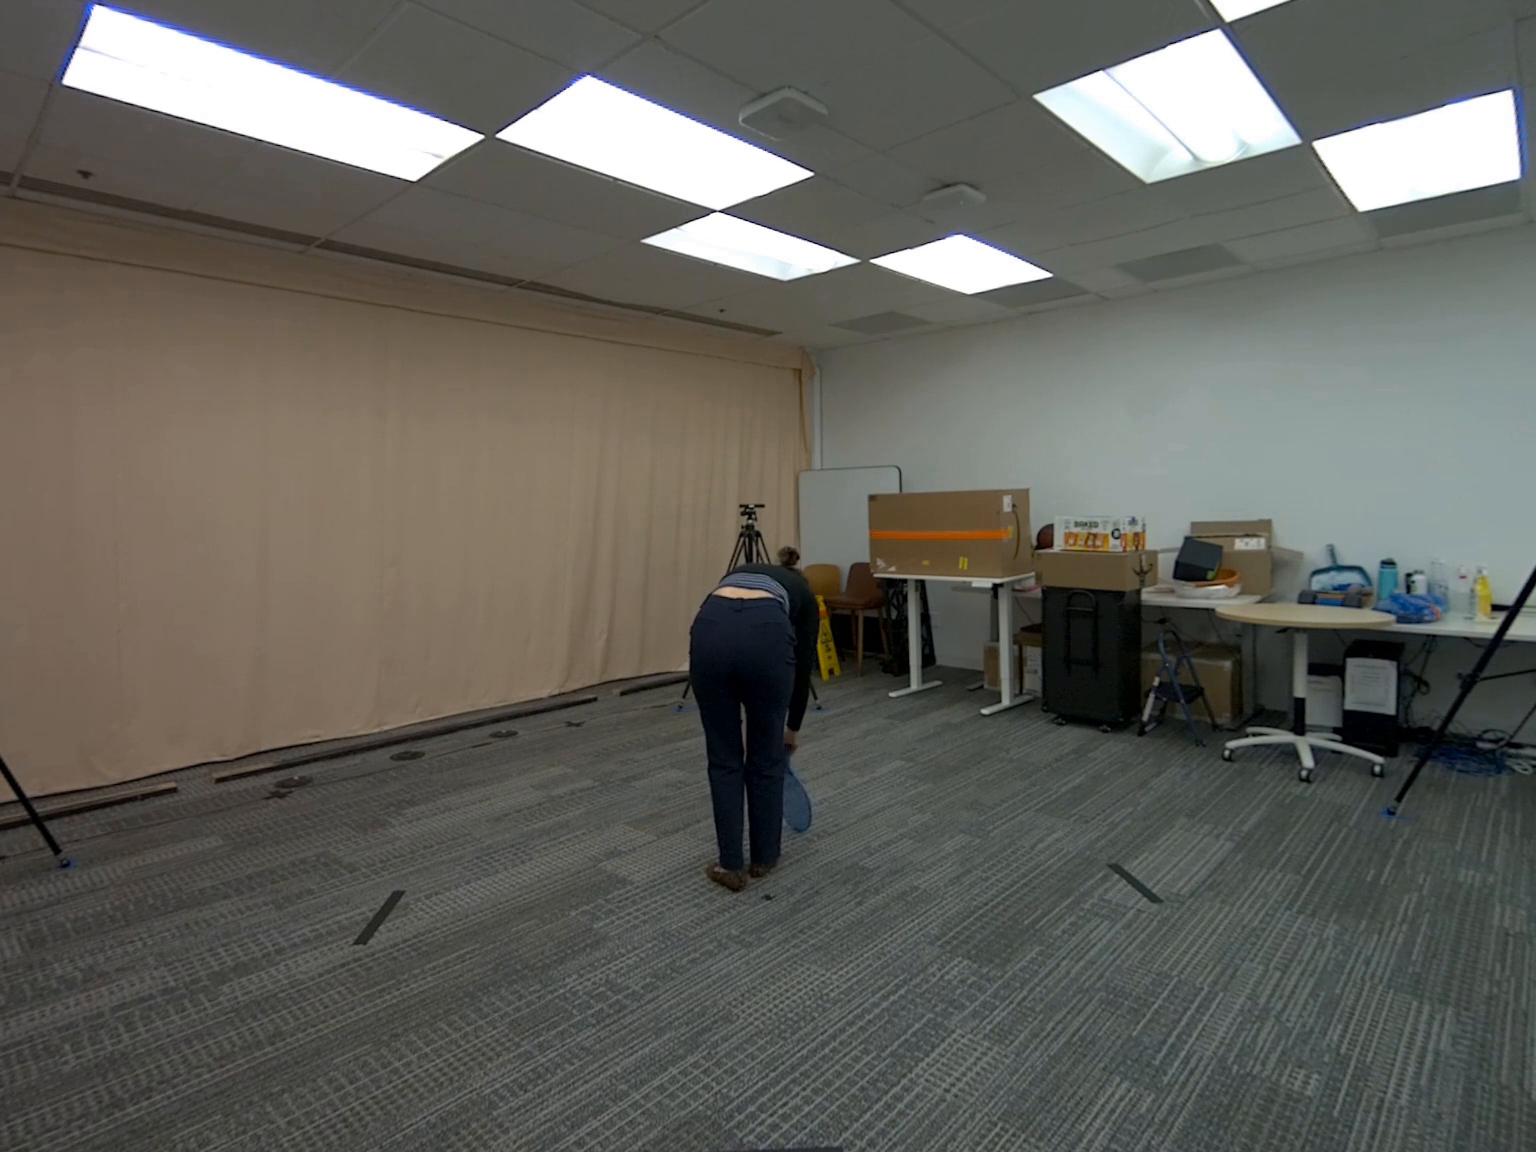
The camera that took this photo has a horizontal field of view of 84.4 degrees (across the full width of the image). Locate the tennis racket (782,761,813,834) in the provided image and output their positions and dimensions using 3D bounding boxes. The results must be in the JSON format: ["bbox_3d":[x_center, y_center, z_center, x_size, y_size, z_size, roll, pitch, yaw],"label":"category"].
[{"bbox_3d":[0.091,0.872,3.550,0.031,0.431,0.220,-15,6,-39],"label":"tennis racket"}]
